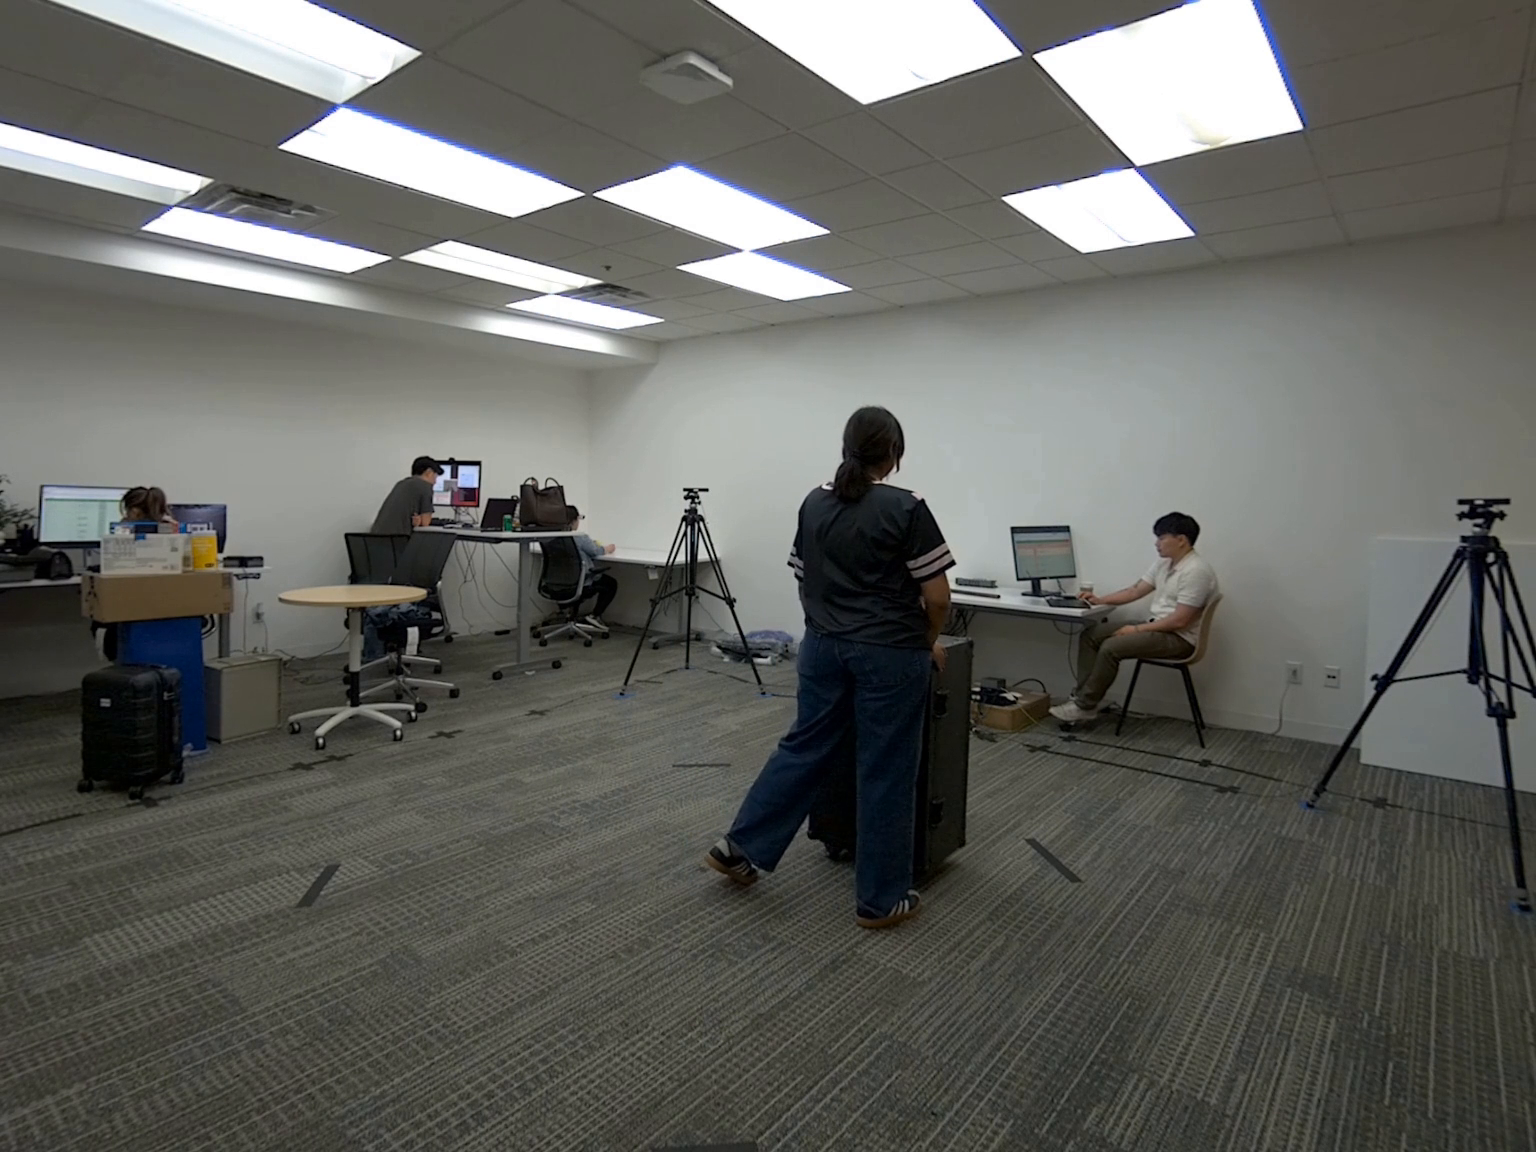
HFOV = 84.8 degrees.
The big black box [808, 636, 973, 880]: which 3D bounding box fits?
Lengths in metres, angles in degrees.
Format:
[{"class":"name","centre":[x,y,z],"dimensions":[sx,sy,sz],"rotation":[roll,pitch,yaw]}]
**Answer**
[{"class":"big black box","centre":[0.450,0.652,3.227],"dimensions":[0.540,0.866,0.374],"rotation":[4,4,35]}]
